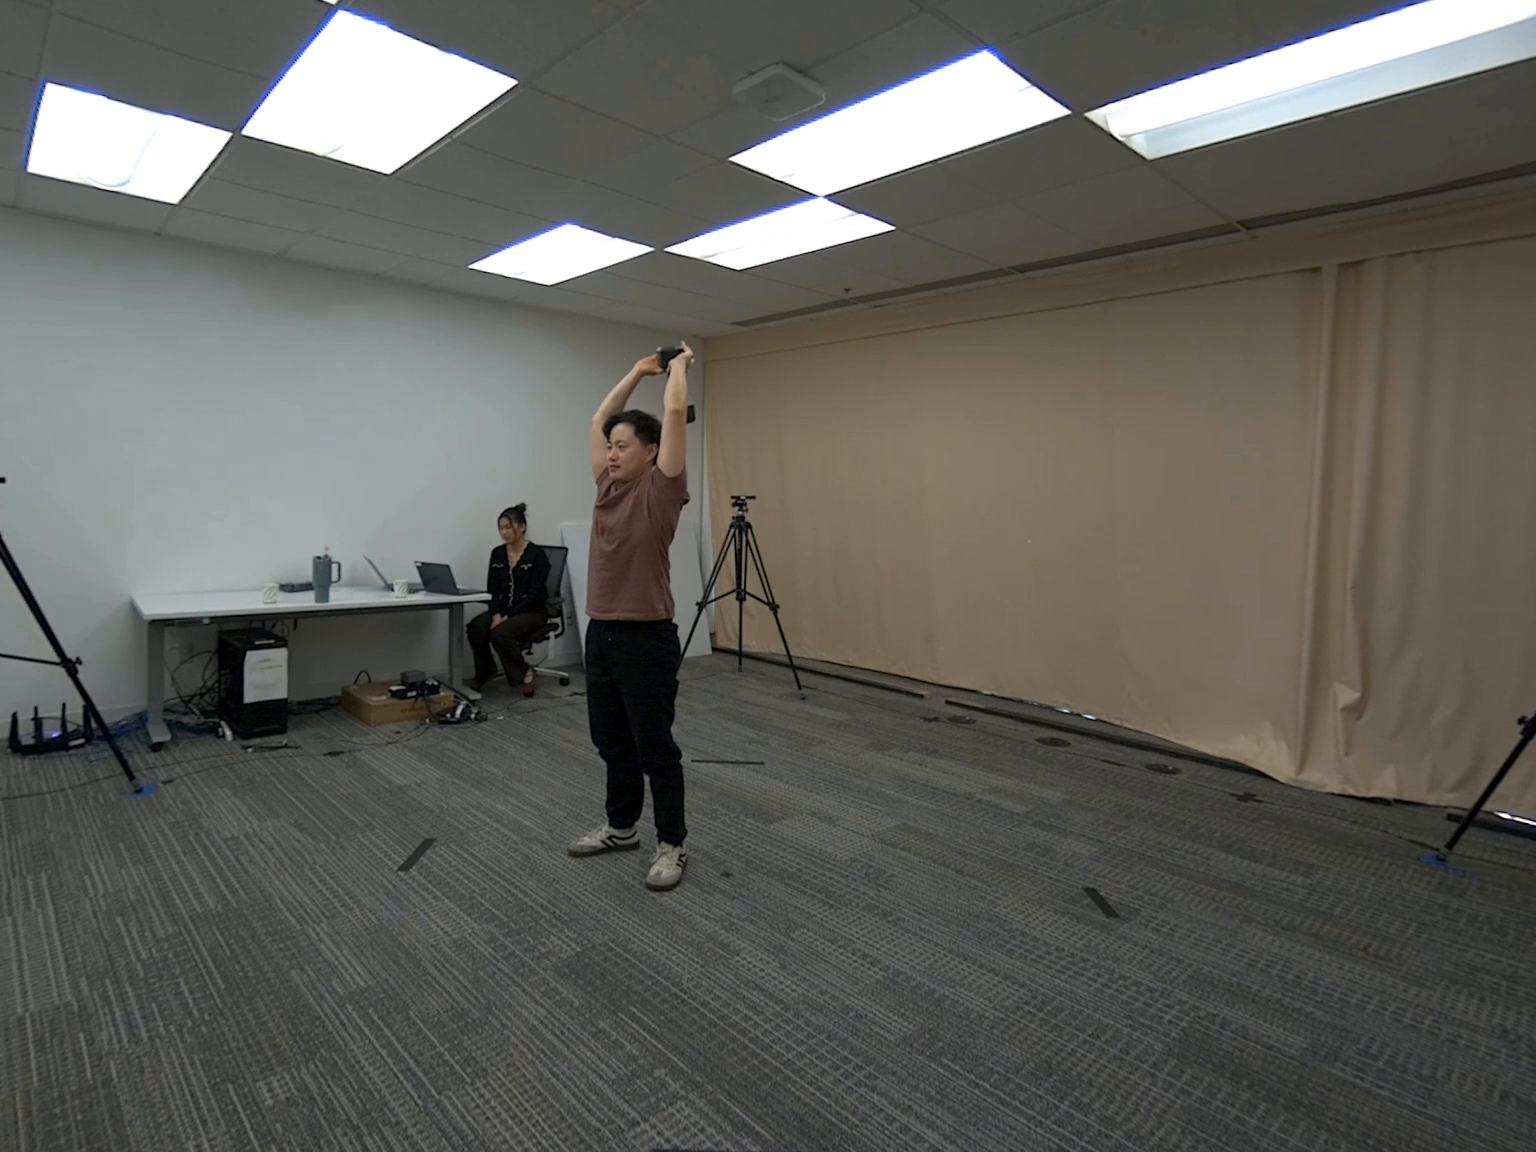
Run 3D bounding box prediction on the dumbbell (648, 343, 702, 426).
[{"bbox_3d":[-0.354,-0.725,3.212,0.121,0.289,0.112,-21,22,-39],"label":"dumbbell"}]
